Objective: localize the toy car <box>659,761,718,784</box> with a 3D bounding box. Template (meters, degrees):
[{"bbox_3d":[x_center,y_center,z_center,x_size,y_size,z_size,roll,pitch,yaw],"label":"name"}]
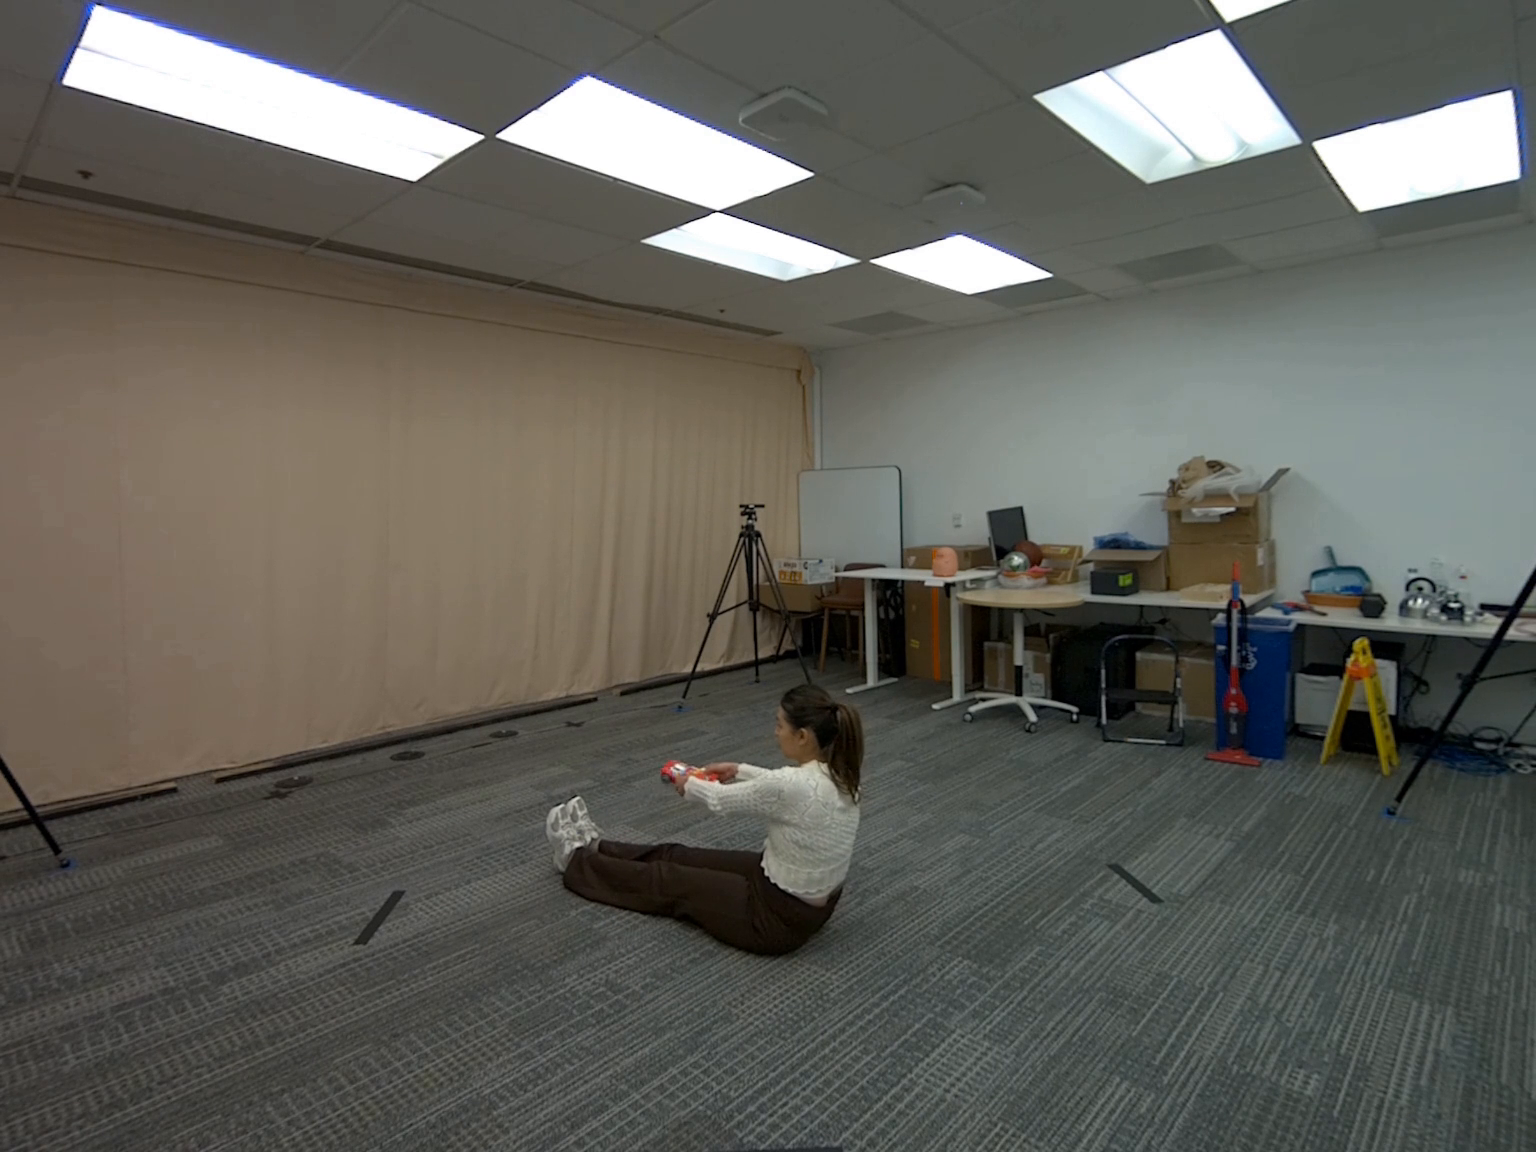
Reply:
[{"bbox_3d":[-0.268,0.762,3.093,0.261,0.082,0.128,11,14,23],"label":"toy car"}]
